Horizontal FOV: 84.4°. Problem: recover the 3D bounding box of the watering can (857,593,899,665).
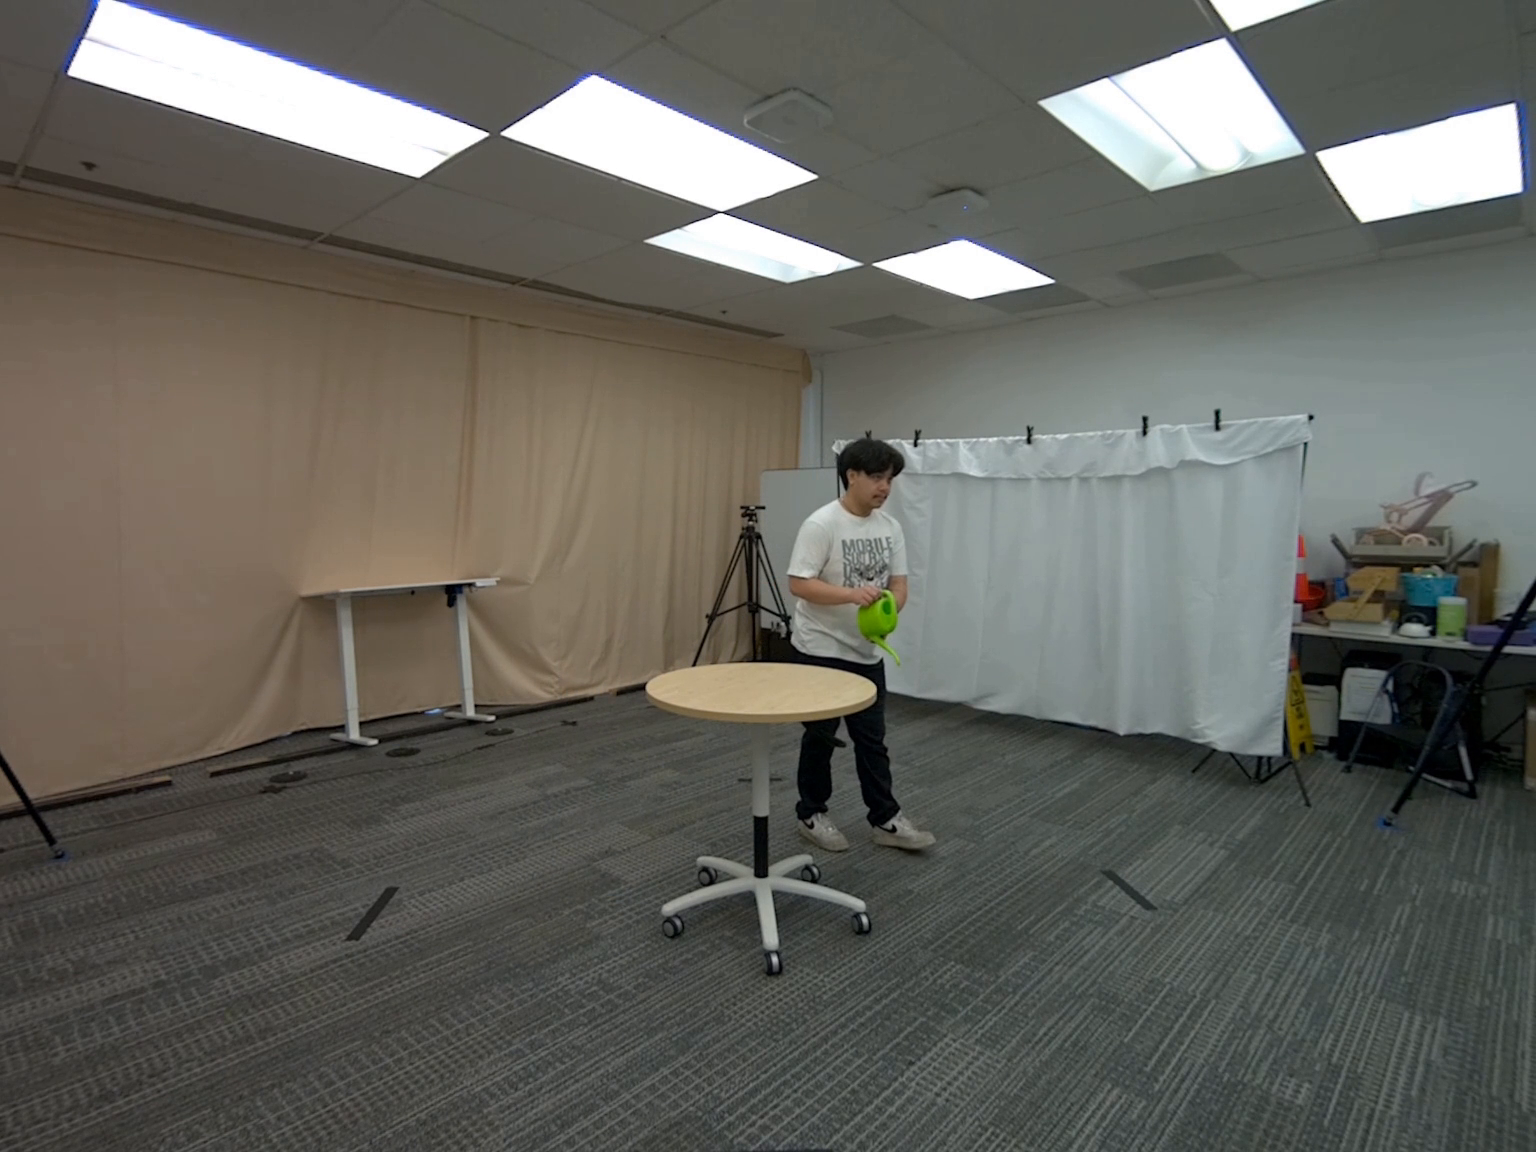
[{"bbox_3d":[0.412,0.195,3.097,0.095,0.281,0.179,9,-20,-26],"label":"watering can"}]
